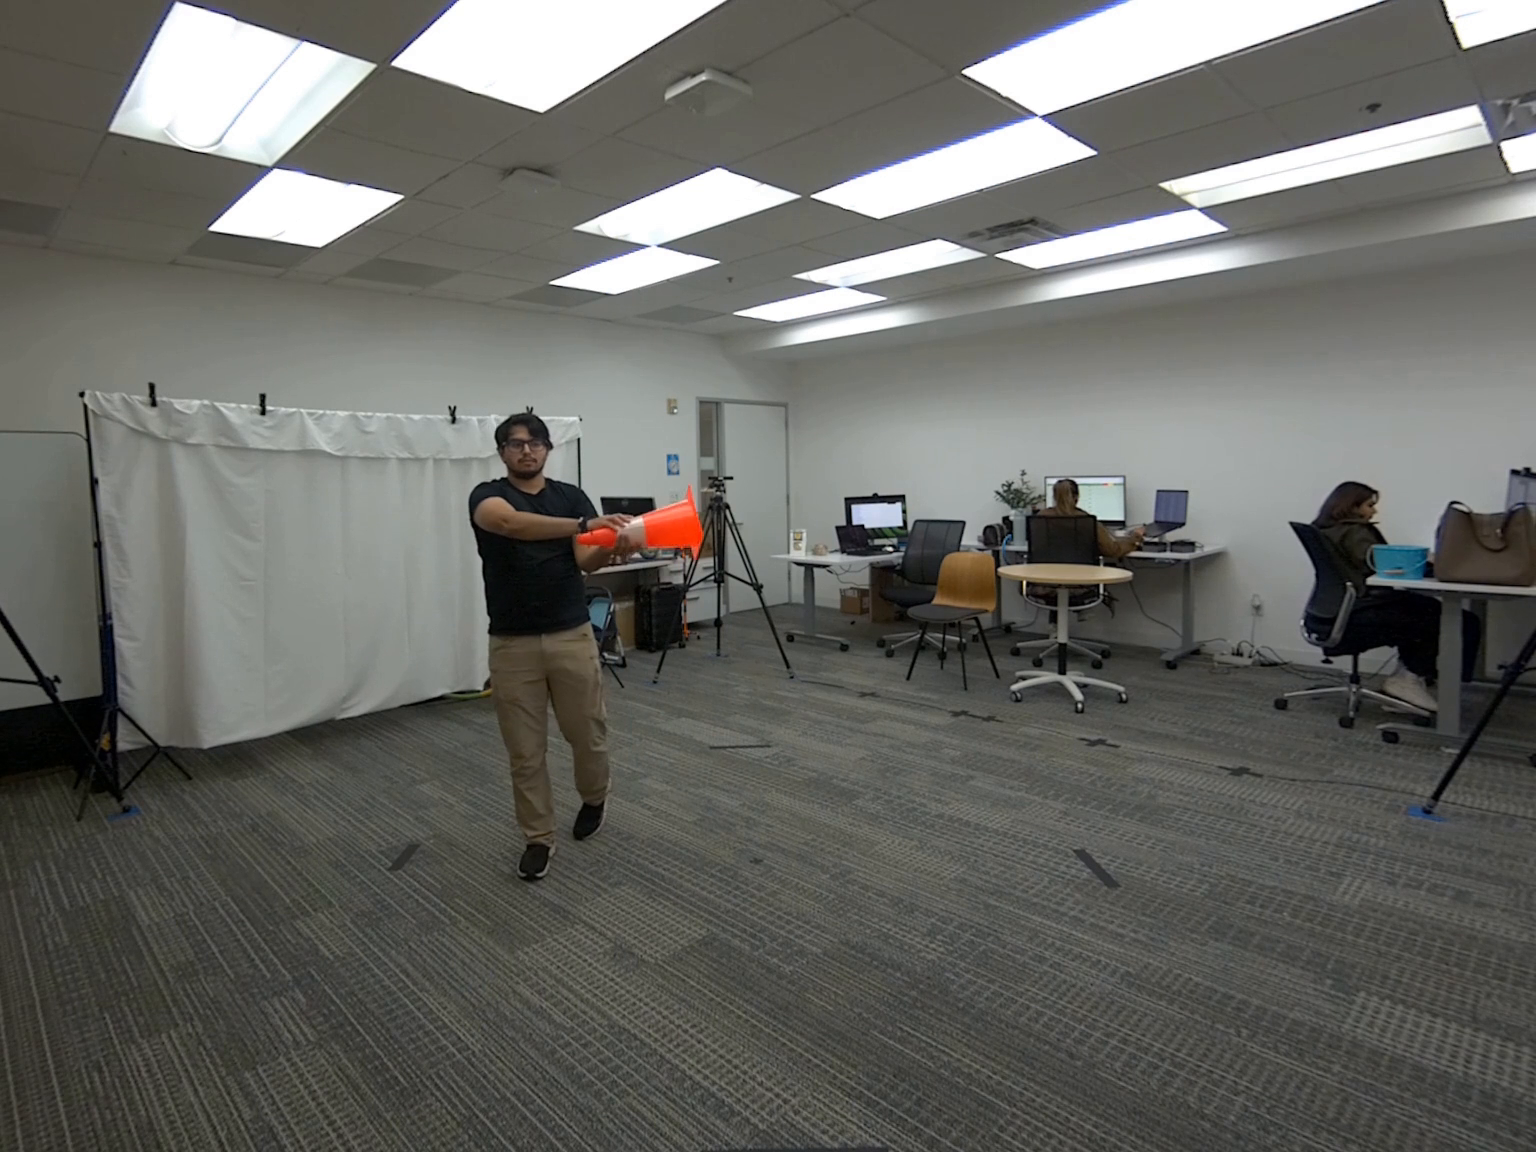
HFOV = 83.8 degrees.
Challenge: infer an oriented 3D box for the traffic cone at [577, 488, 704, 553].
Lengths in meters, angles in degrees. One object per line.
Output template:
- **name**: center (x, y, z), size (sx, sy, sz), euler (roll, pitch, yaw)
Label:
- **traffic cone**: center (-0.437, -0.135, 2.796), size (0.381, 0.208, 0.202), euler (-10, -23, -10)
